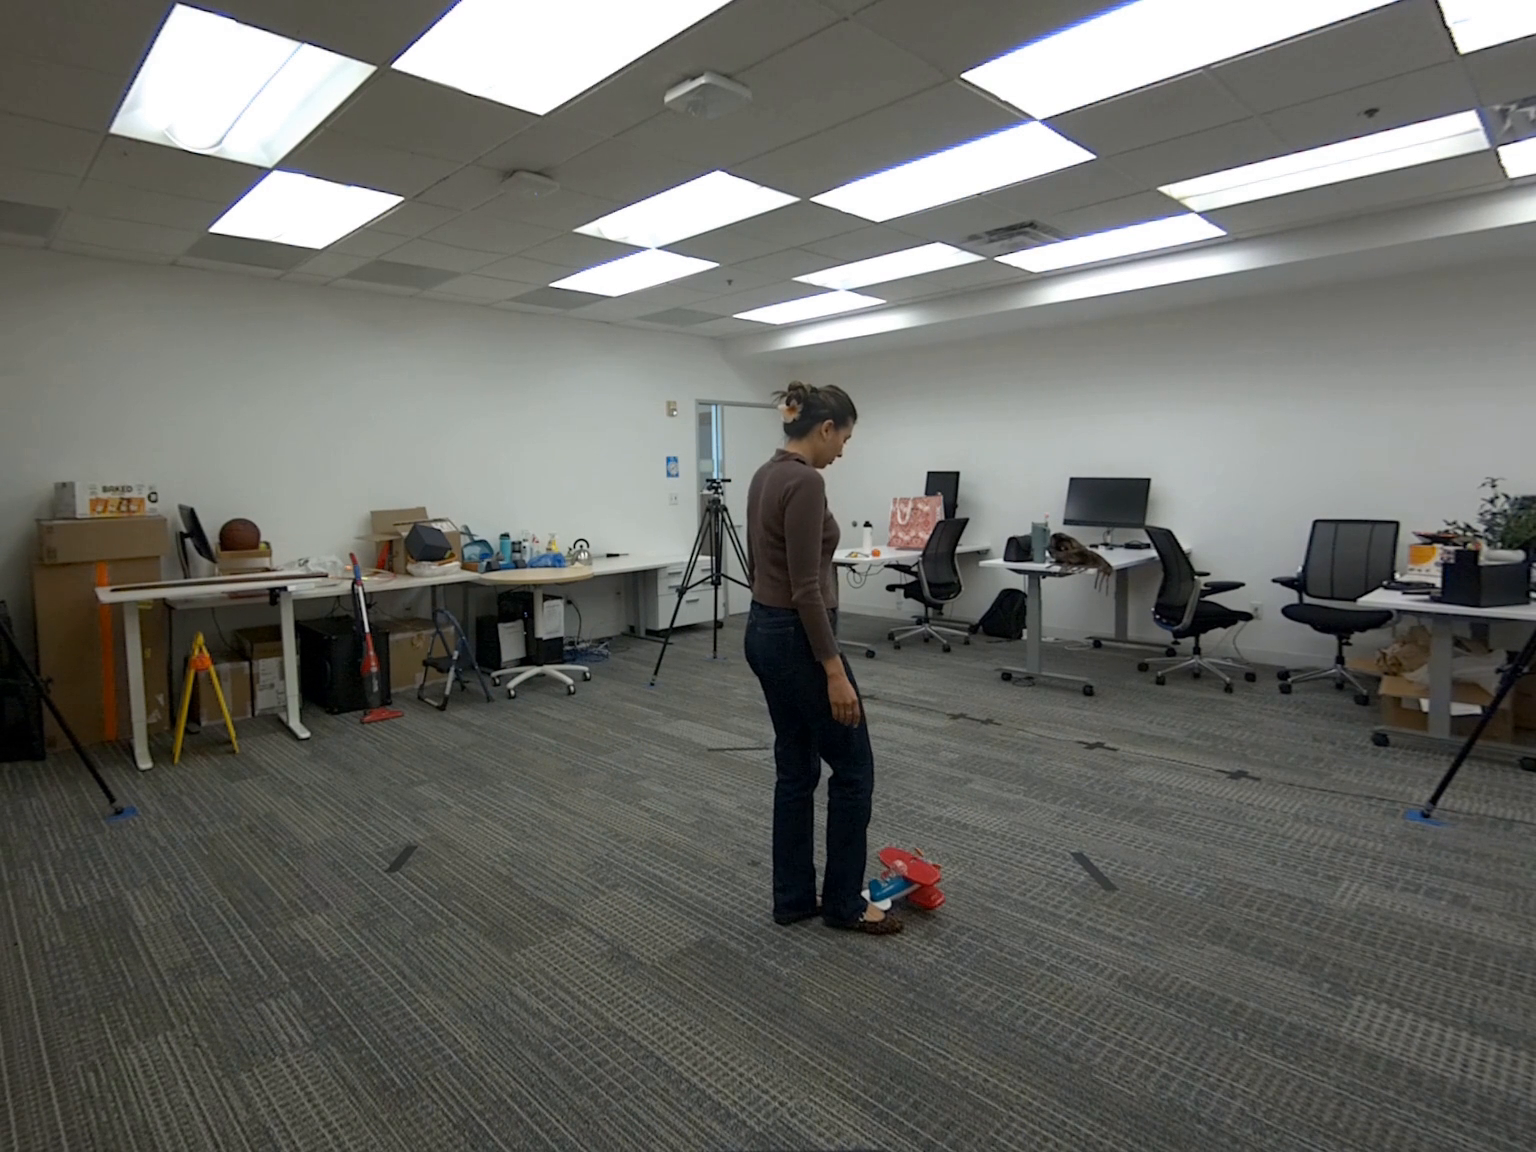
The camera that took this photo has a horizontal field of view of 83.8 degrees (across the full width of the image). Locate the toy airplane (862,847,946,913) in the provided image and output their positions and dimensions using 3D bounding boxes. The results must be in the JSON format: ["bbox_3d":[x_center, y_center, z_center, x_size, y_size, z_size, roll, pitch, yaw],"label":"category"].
[{"bbox_3d":[0.458,1.002,2.747,0.258,0.156,0.253,3,6,31],"label":"toy airplane"}]
